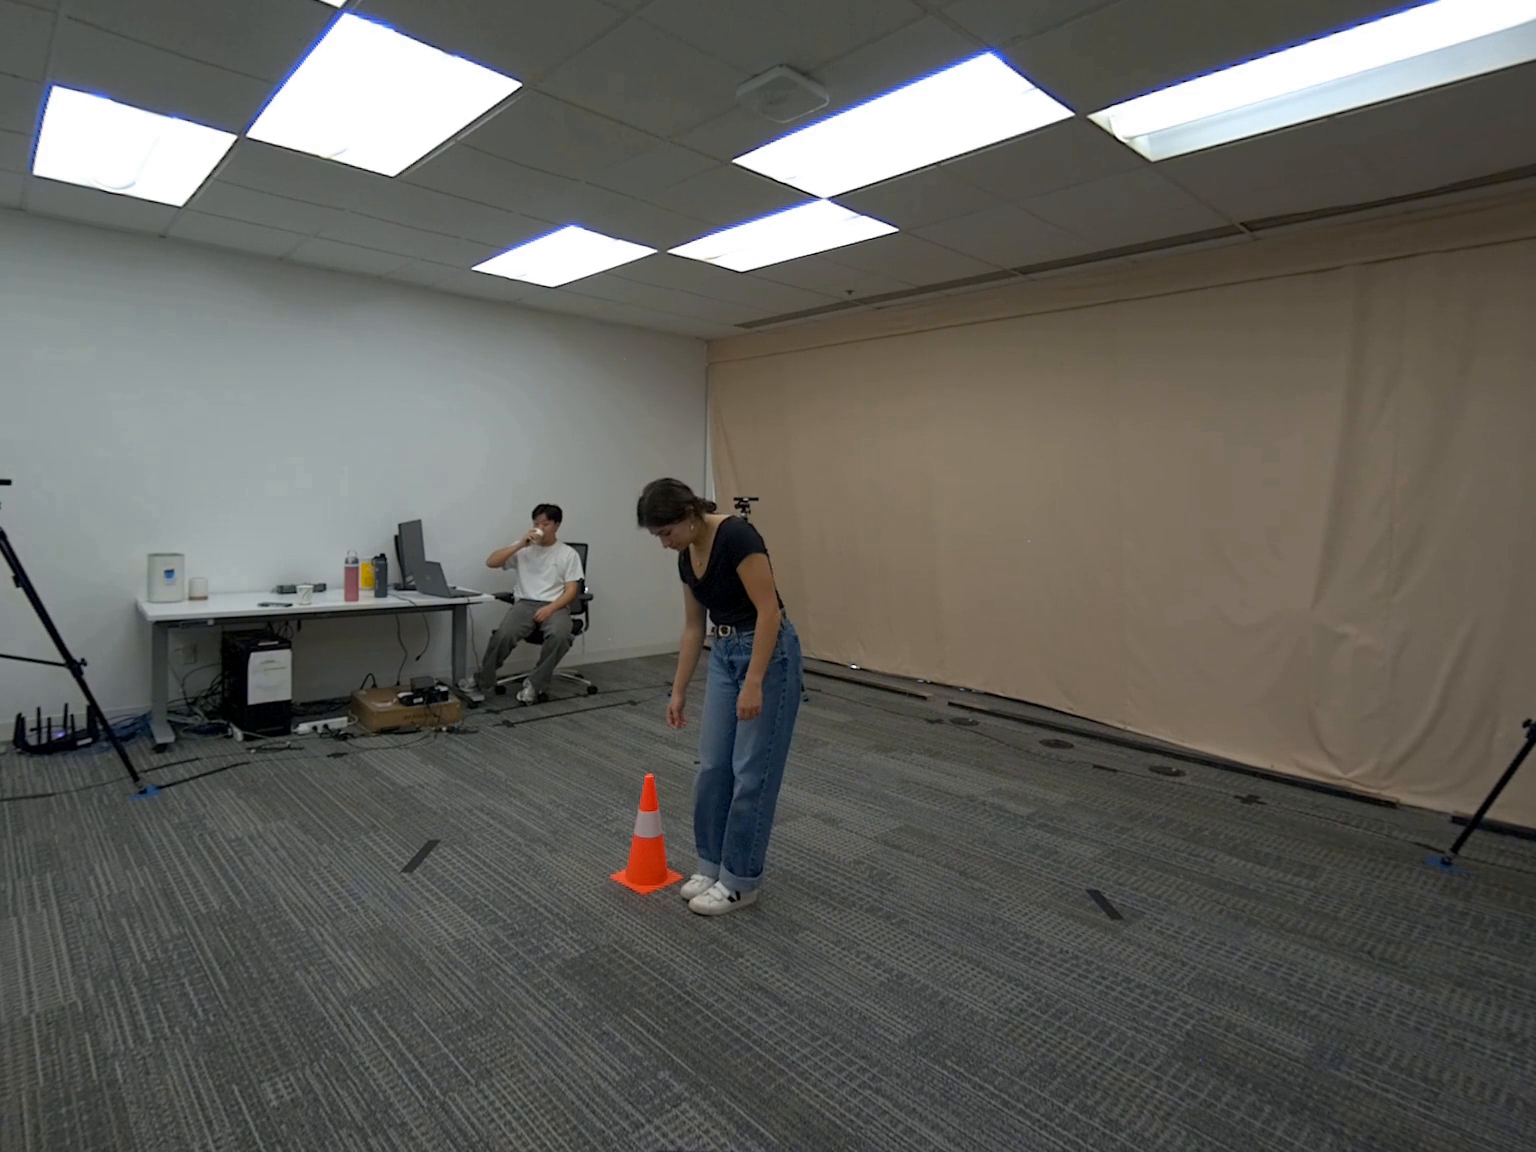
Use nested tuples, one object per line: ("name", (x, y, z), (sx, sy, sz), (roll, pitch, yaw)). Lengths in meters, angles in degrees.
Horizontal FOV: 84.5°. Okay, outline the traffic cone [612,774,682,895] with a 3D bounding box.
("traffic cone", (-0.446, 0.924, 3.071), (0.210, 0.383, 0.199), (5, 5, 40))
